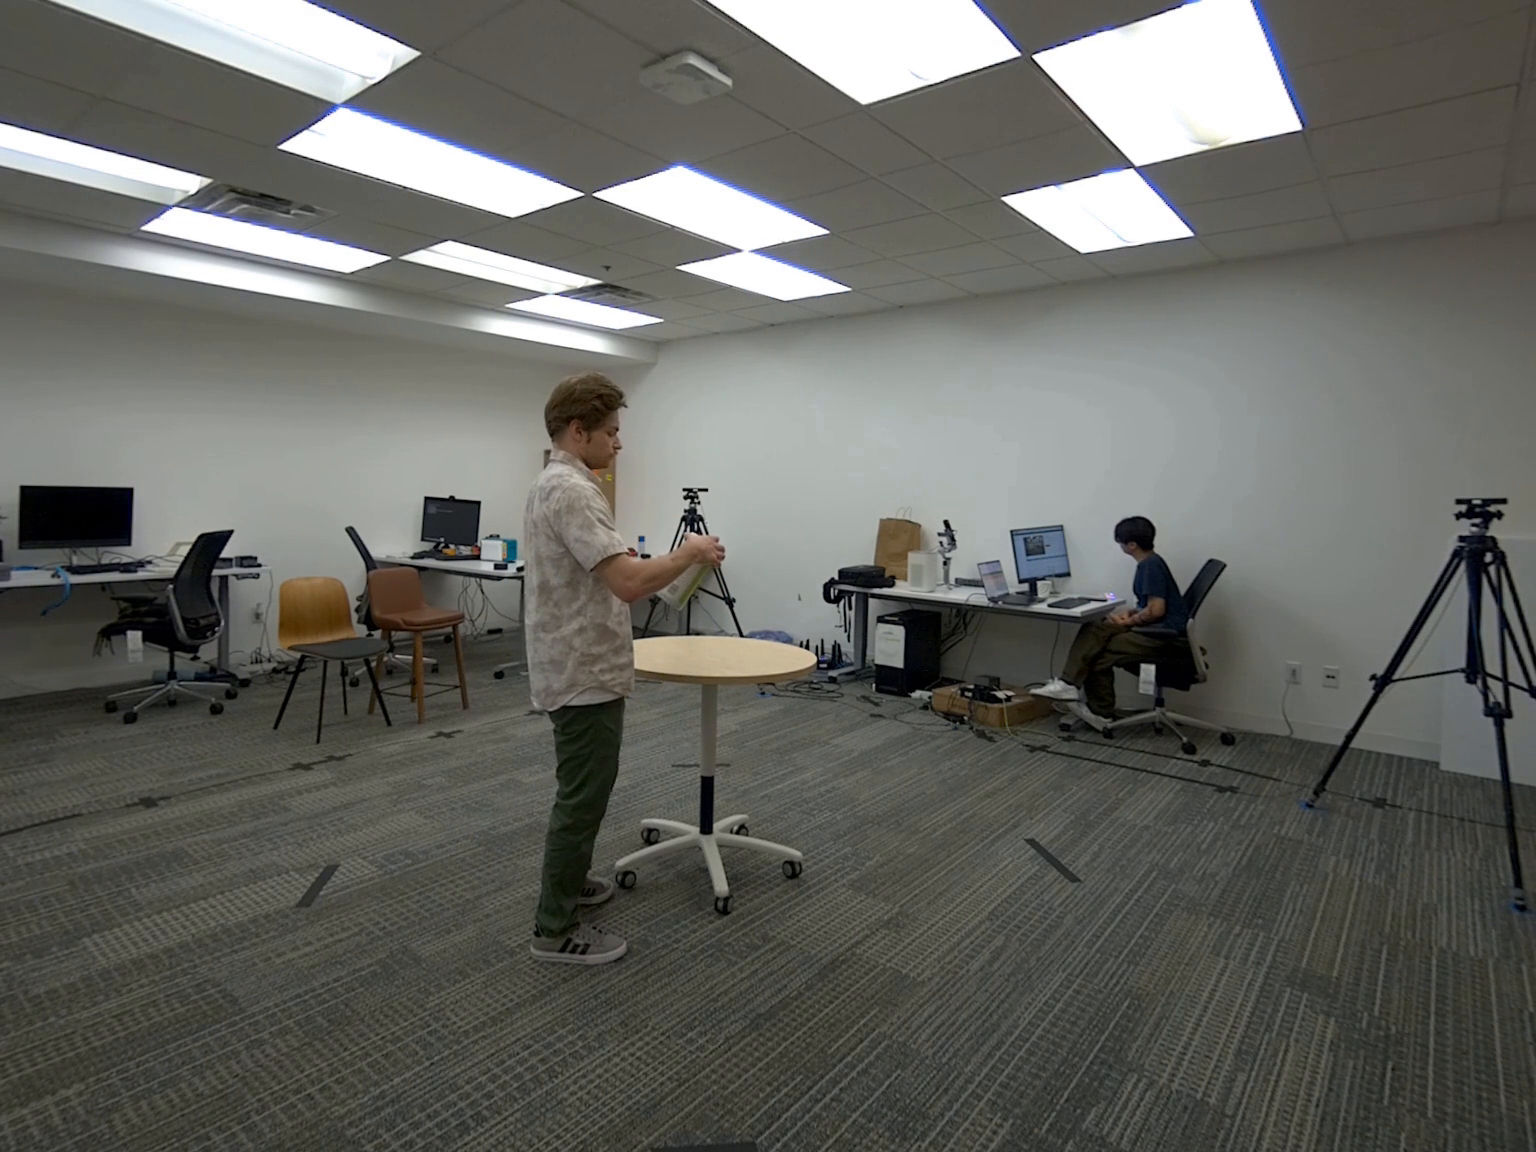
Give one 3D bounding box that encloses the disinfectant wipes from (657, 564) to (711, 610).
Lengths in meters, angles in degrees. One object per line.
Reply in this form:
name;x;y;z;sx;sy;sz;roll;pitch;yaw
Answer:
disinfectant wipes;-0.256;-0.011;2.531;0.118;0.217;0.117;34;-4;0
